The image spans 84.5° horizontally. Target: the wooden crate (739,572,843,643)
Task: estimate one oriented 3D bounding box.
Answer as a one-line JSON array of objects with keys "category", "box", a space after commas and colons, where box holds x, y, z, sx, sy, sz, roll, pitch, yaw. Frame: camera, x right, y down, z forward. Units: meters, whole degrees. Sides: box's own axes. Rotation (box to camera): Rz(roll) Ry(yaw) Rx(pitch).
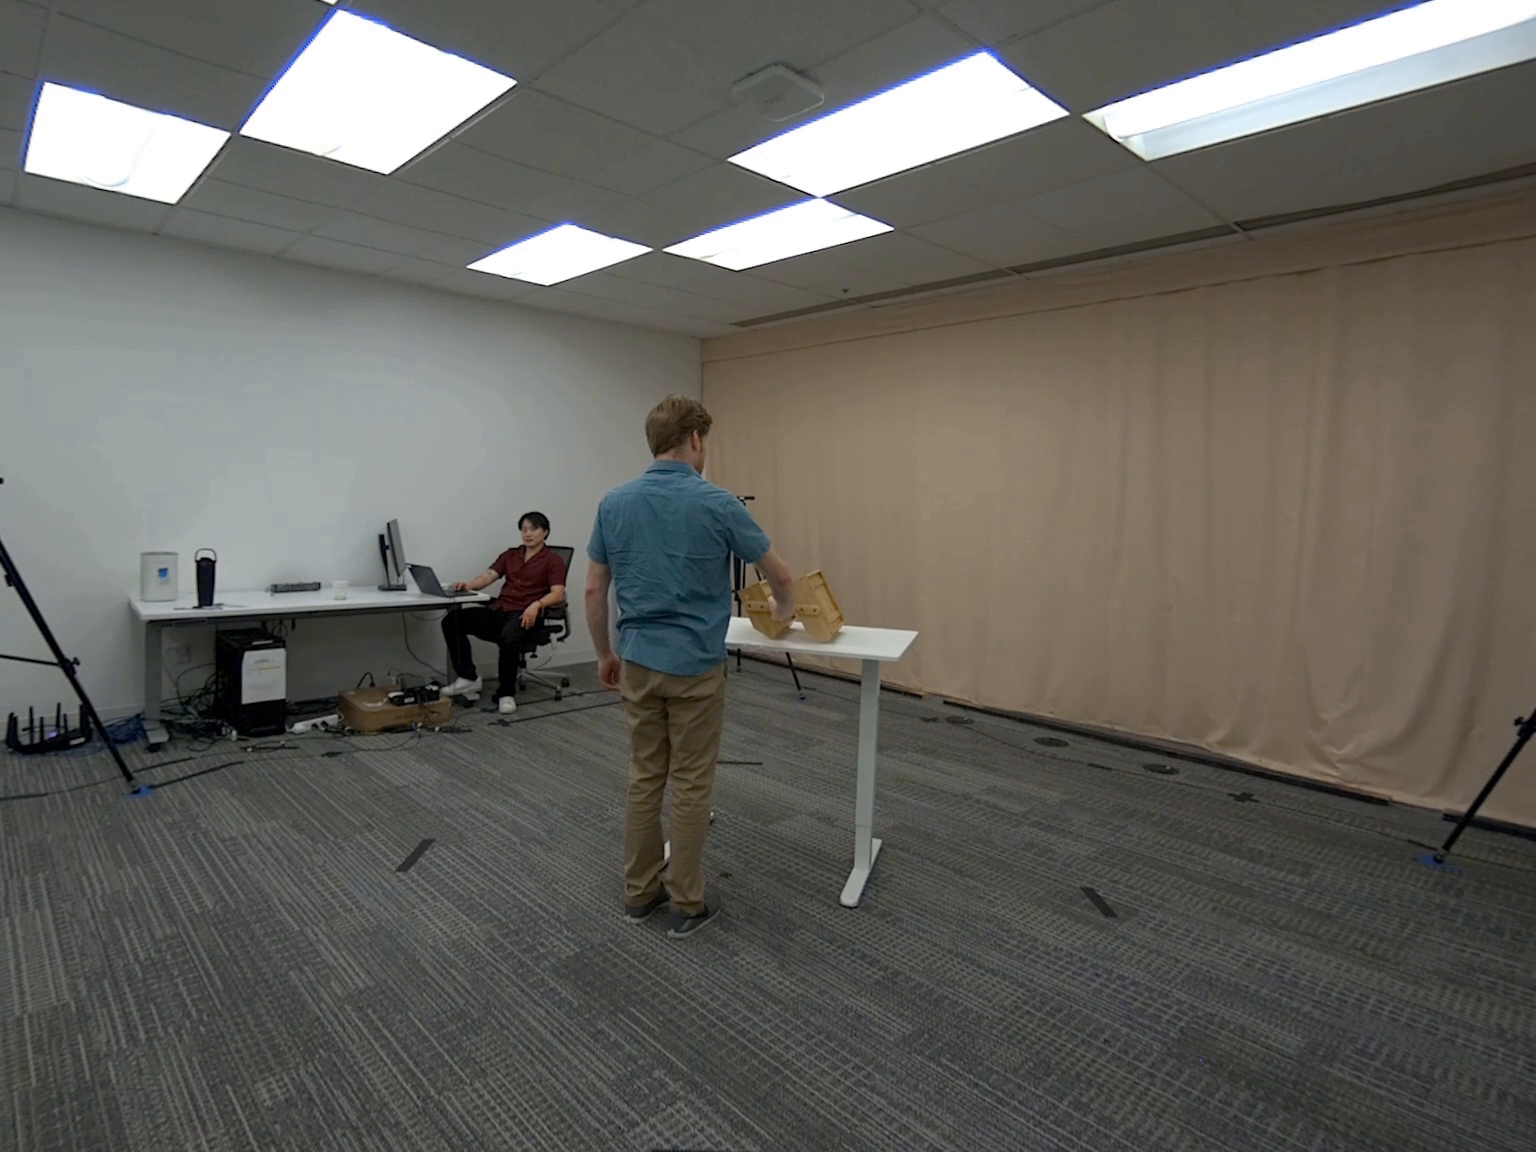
[{"category": "wooden crate", "box": [0.085, 0.129, 3.170, 0.275, 0.303, 0.321, -24, -2, 14]}]
